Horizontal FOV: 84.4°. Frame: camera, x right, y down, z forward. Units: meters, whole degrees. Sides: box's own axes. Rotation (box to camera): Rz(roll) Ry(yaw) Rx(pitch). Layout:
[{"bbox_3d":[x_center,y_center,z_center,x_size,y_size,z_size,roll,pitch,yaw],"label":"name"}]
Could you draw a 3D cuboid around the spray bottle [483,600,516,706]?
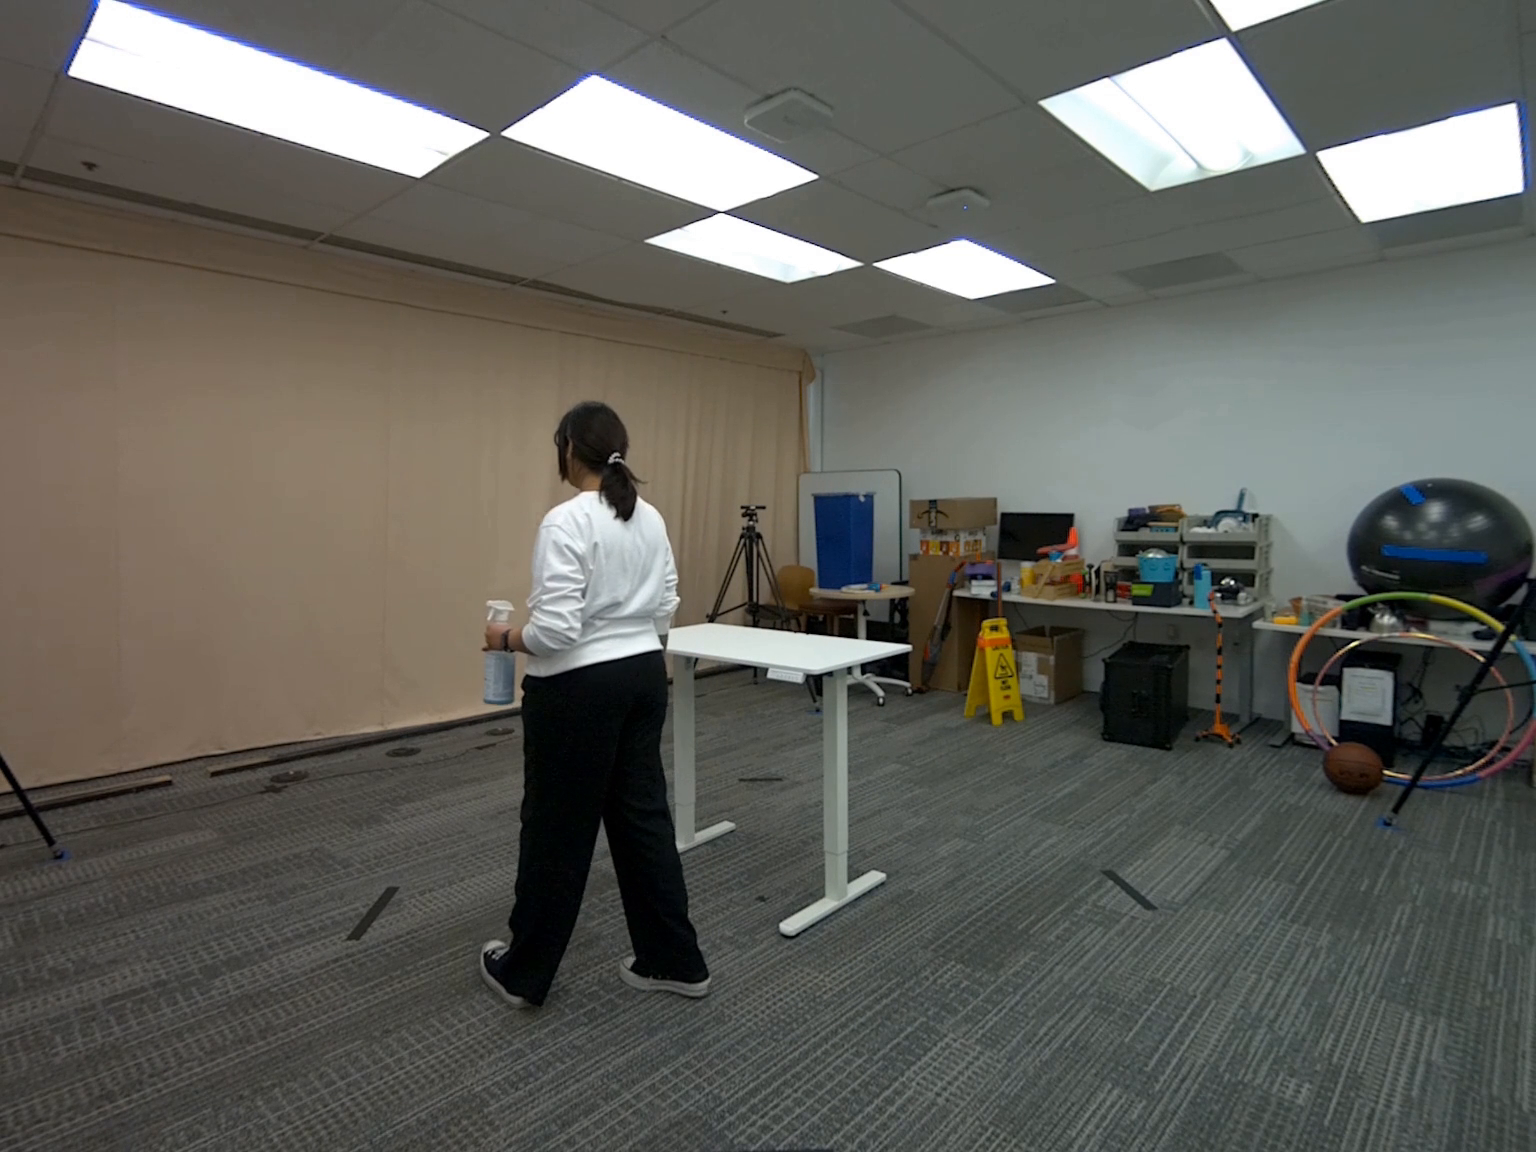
[{"bbox_3d":[-0.764,0.220,2.413,0.088,0.297,0.089,0,3,-28],"label":"spray bottle"}]
